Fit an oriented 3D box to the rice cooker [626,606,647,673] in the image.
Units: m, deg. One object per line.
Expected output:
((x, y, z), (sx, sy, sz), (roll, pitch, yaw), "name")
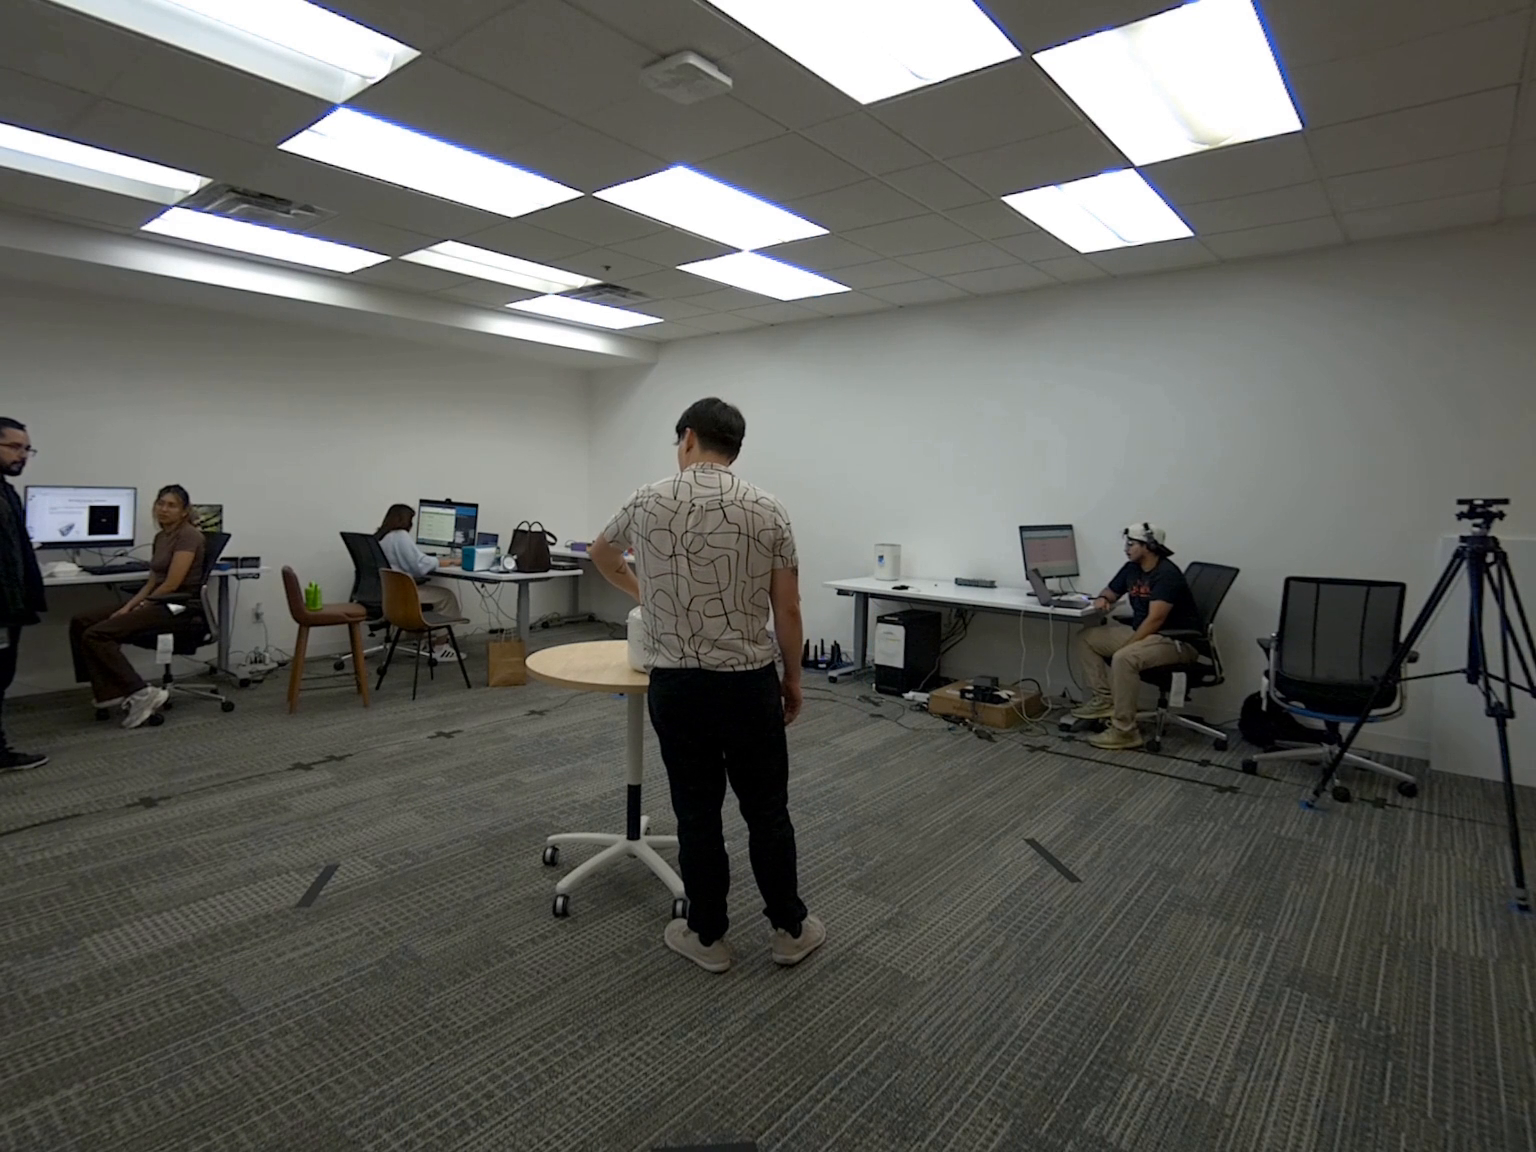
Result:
((-0.370, 0.194, 2.851), (0.224, 0.232, 0.215), (3, 5, 33), "rice cooker")
